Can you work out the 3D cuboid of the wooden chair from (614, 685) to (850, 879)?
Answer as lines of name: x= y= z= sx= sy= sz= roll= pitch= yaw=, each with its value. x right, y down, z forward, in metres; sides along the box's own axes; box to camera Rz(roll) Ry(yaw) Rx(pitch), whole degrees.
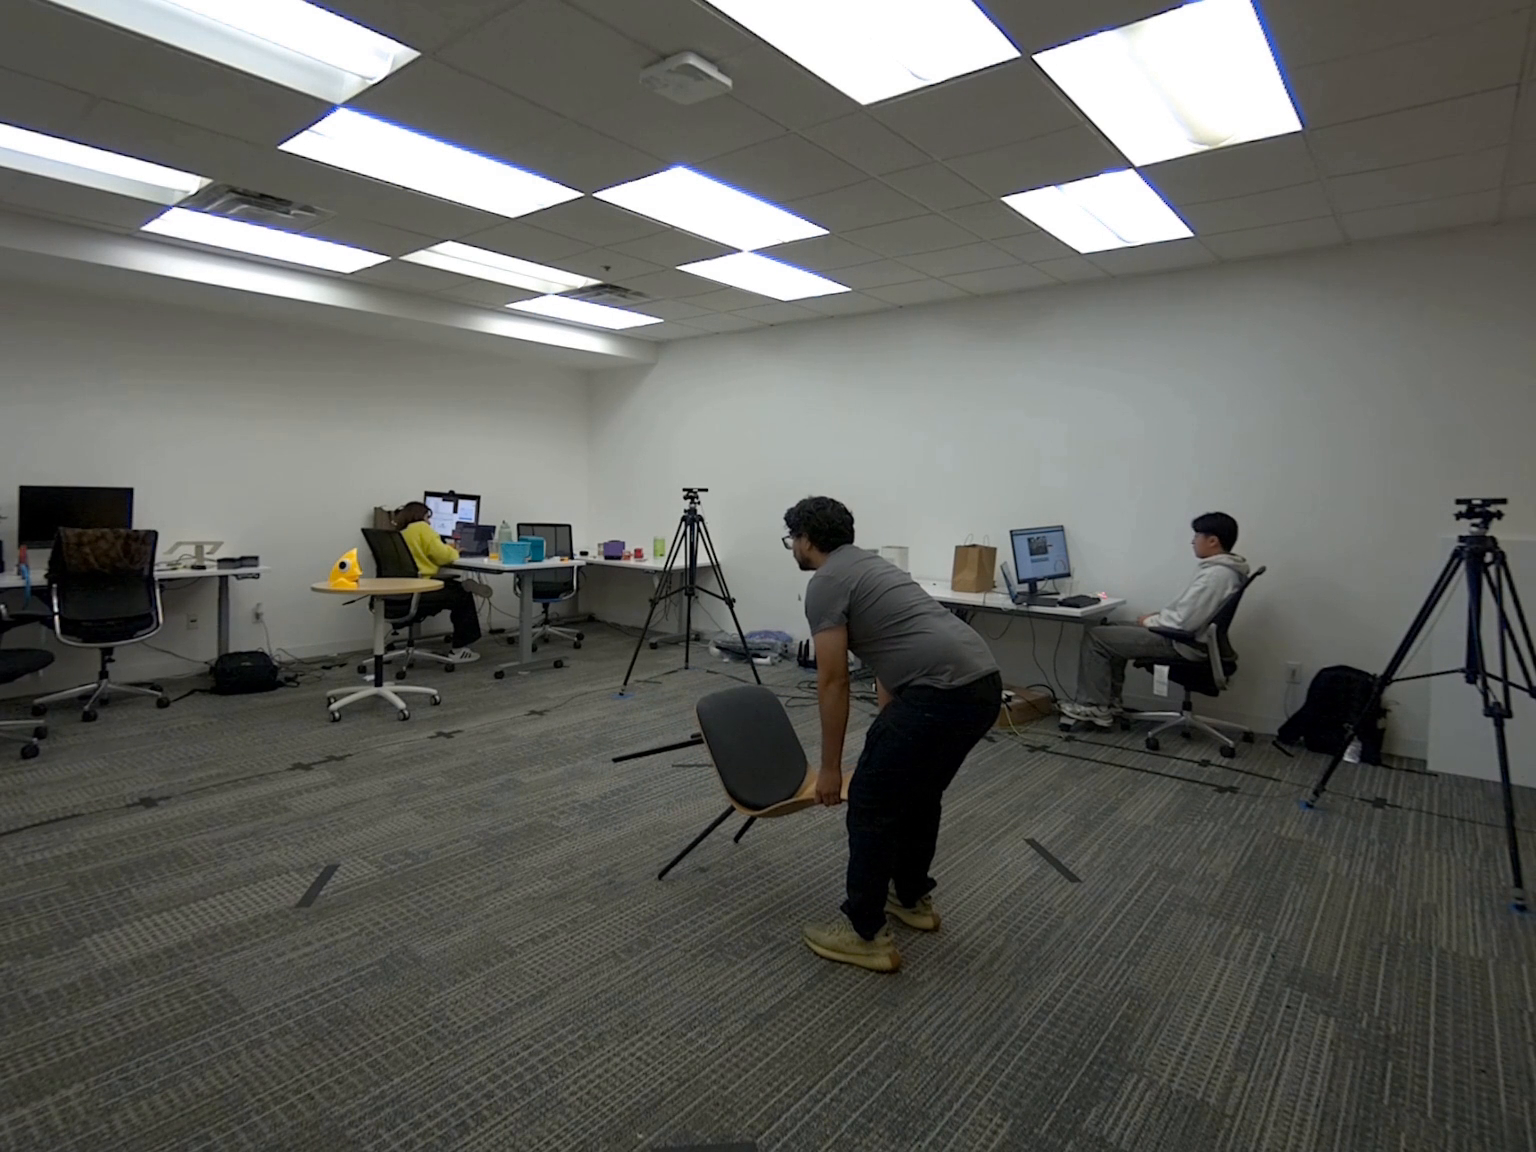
wooden chair: x=-0.071 y=0.652 z=3.026 sx=0.887 sy=0.533 sz=0.464 roll=-30 pitch=-16 yaw=34
